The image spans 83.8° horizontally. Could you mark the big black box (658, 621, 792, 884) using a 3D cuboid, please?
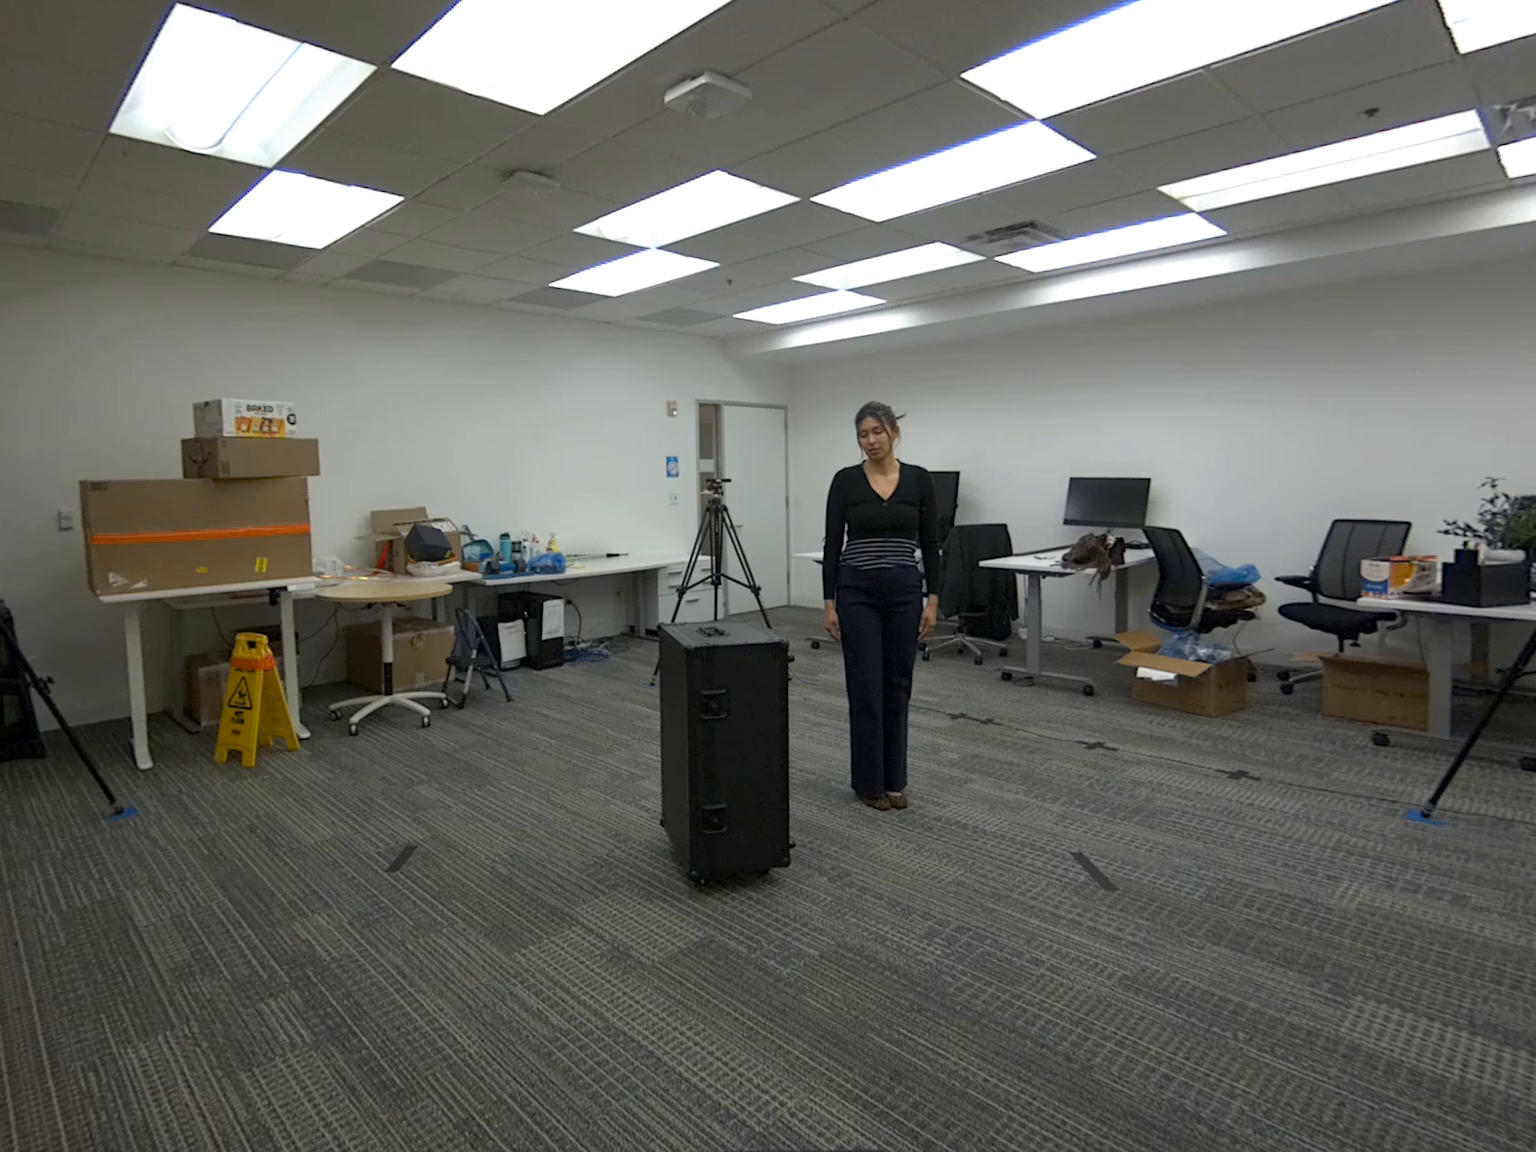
[{"bbox_3d":[-0.163,0.556,3.078,0.390,0.859,0.531,-2,4,-18],"label":"big black box"}]
